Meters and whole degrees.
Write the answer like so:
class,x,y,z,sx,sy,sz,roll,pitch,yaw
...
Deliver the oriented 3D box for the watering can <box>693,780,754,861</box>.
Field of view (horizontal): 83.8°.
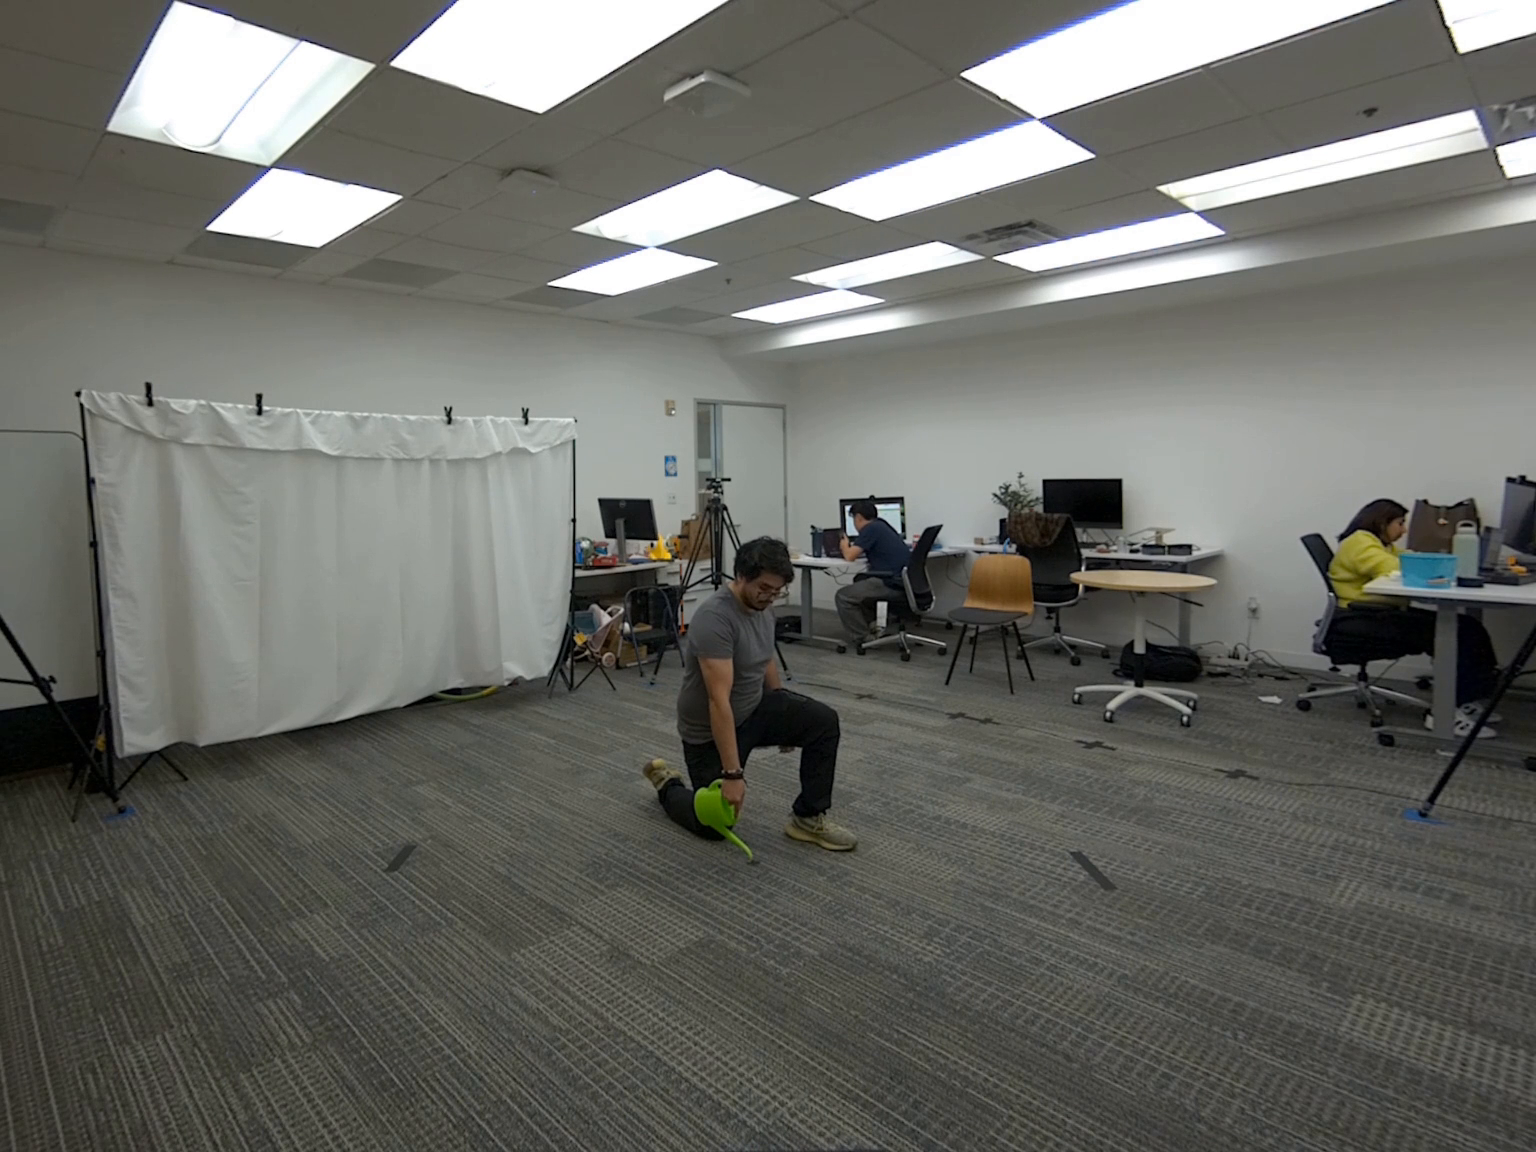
class,x,y,z,sx,sy,sz,roll,pitch,yaw
watering can,-0.158,0.859,3.001,0.180,0.282,0.095,-17,-15,41
